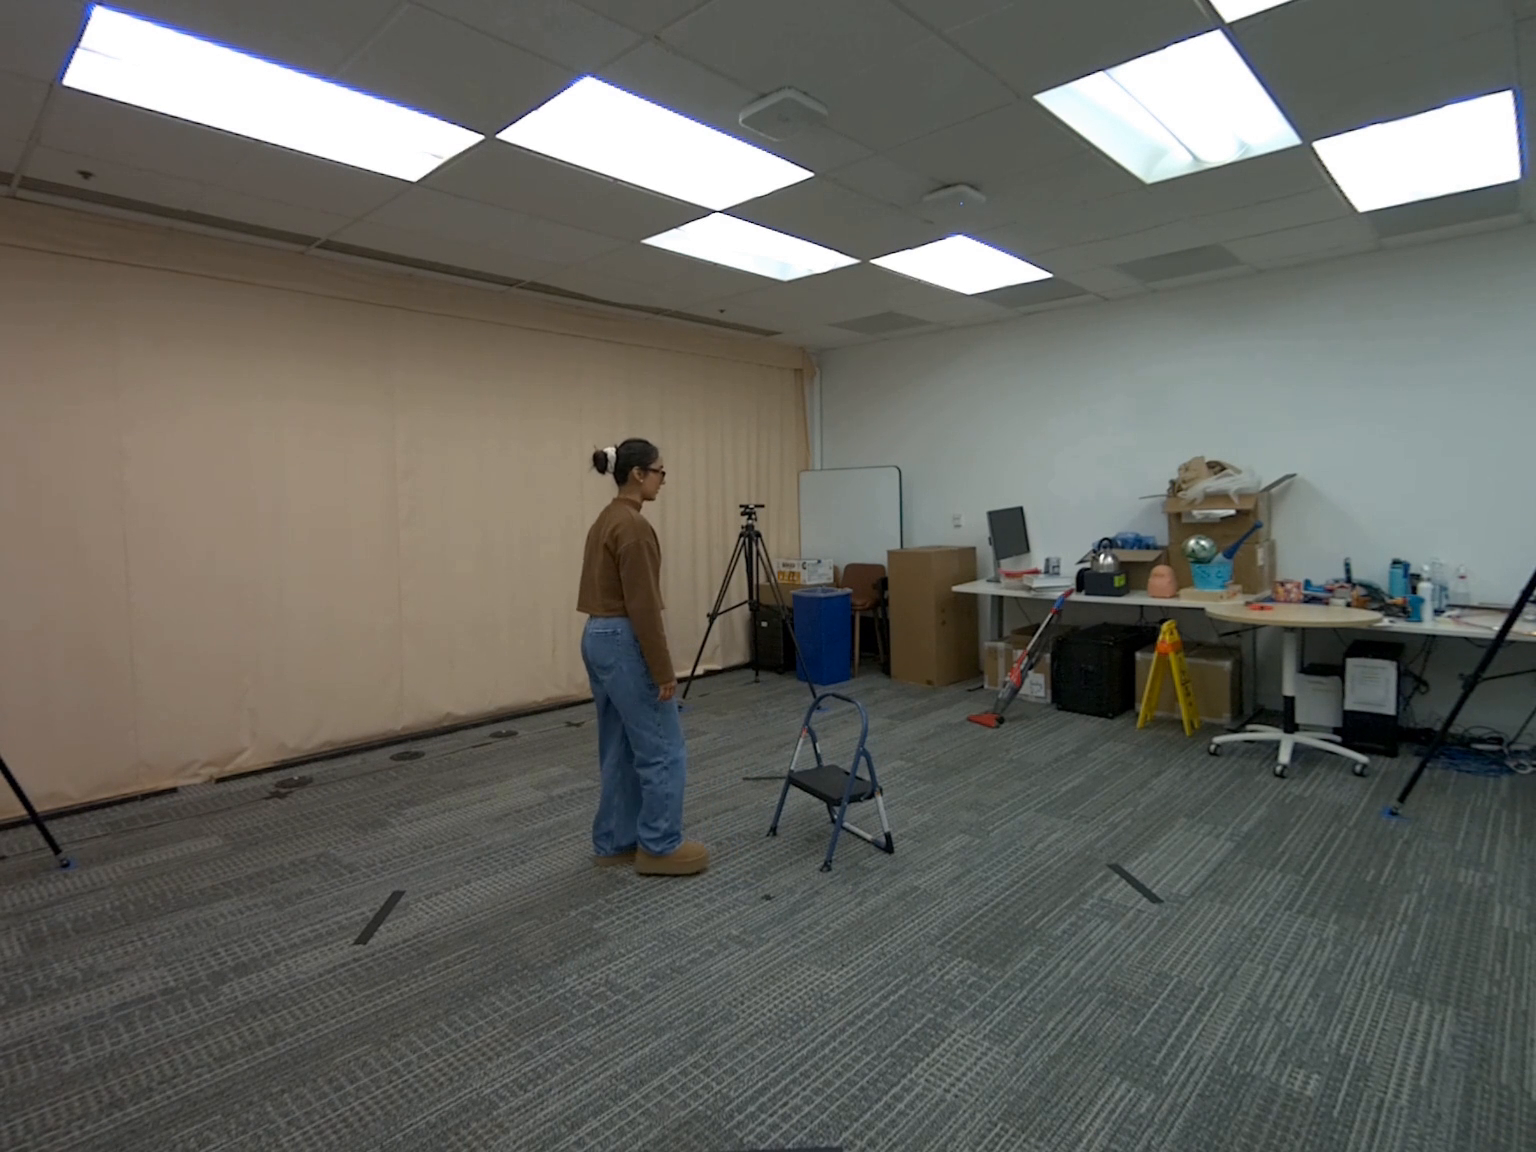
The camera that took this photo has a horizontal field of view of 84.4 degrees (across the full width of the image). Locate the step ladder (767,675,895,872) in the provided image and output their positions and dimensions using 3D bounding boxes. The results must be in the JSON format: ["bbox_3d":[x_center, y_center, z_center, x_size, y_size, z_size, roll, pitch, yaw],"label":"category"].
[{"bbox_3d":[0.253,0.794,3.427,0.340,0.605,0.443,-3,4,-30],"label":"step ladder"}]
